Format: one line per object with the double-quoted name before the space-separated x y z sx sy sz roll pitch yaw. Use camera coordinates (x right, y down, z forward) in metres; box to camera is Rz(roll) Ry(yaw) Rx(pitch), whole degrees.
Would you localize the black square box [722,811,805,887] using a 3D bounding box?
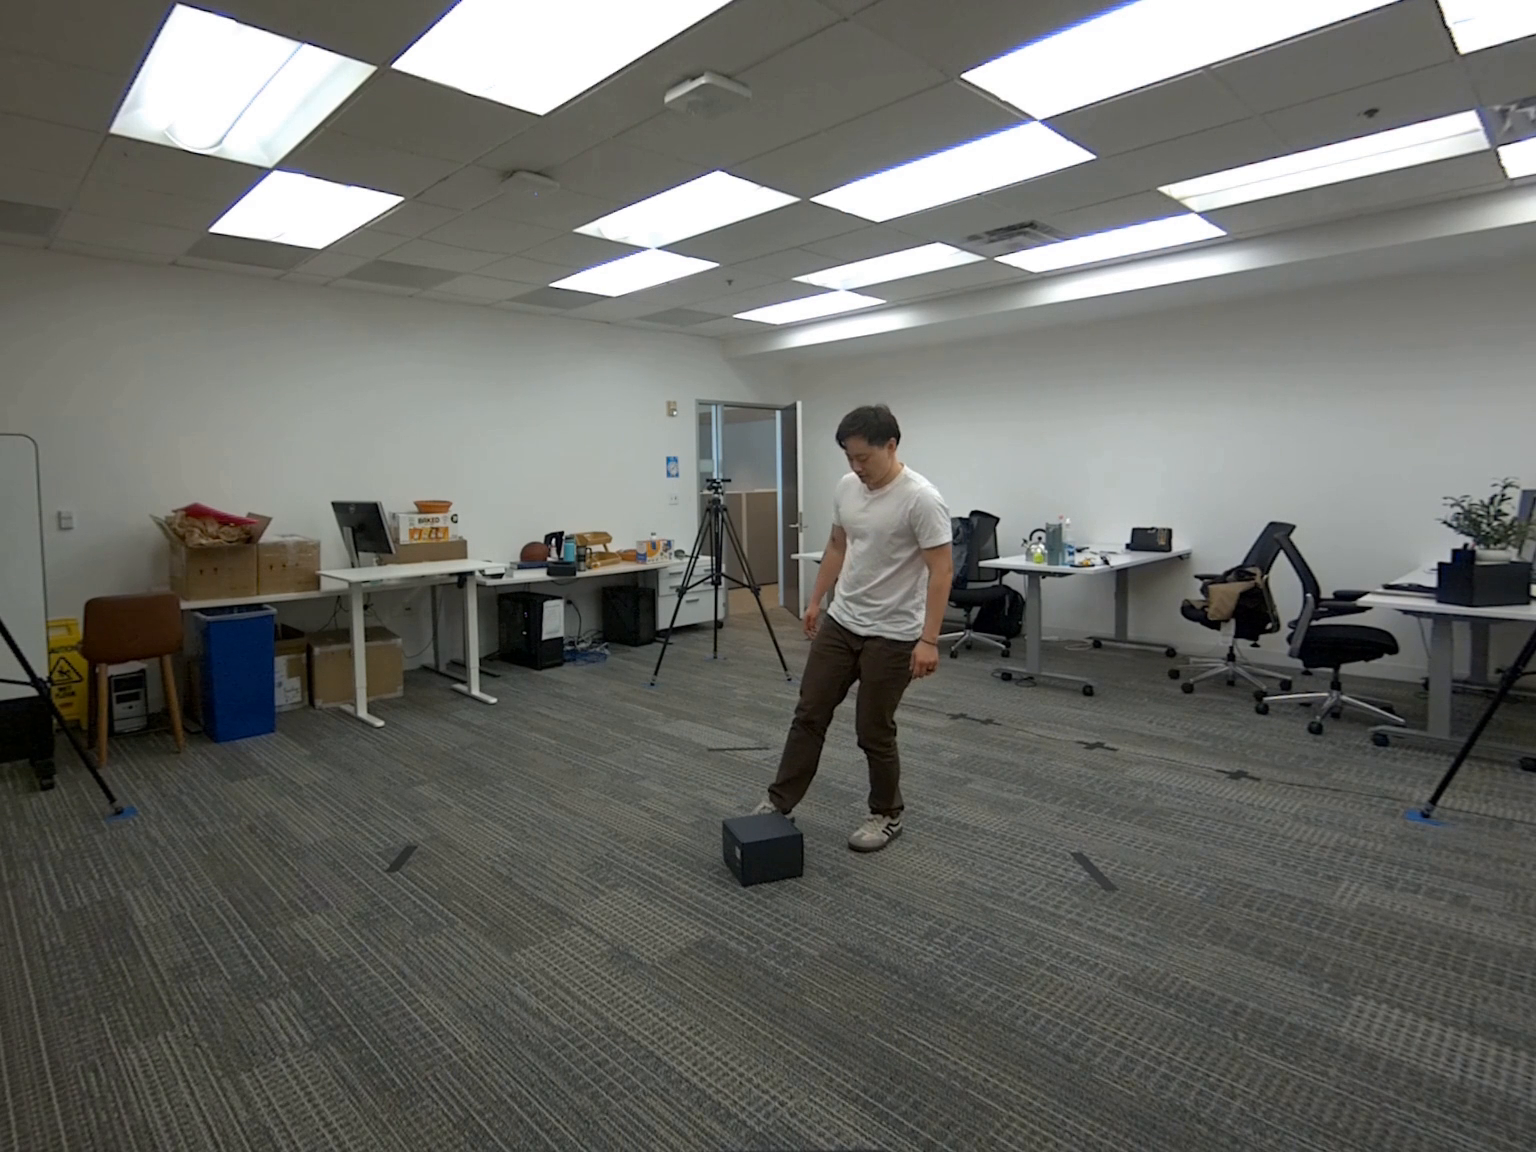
"black square box" -0.021 0.967 3.051 0.224 0.155 0.222 -3 5 -20
